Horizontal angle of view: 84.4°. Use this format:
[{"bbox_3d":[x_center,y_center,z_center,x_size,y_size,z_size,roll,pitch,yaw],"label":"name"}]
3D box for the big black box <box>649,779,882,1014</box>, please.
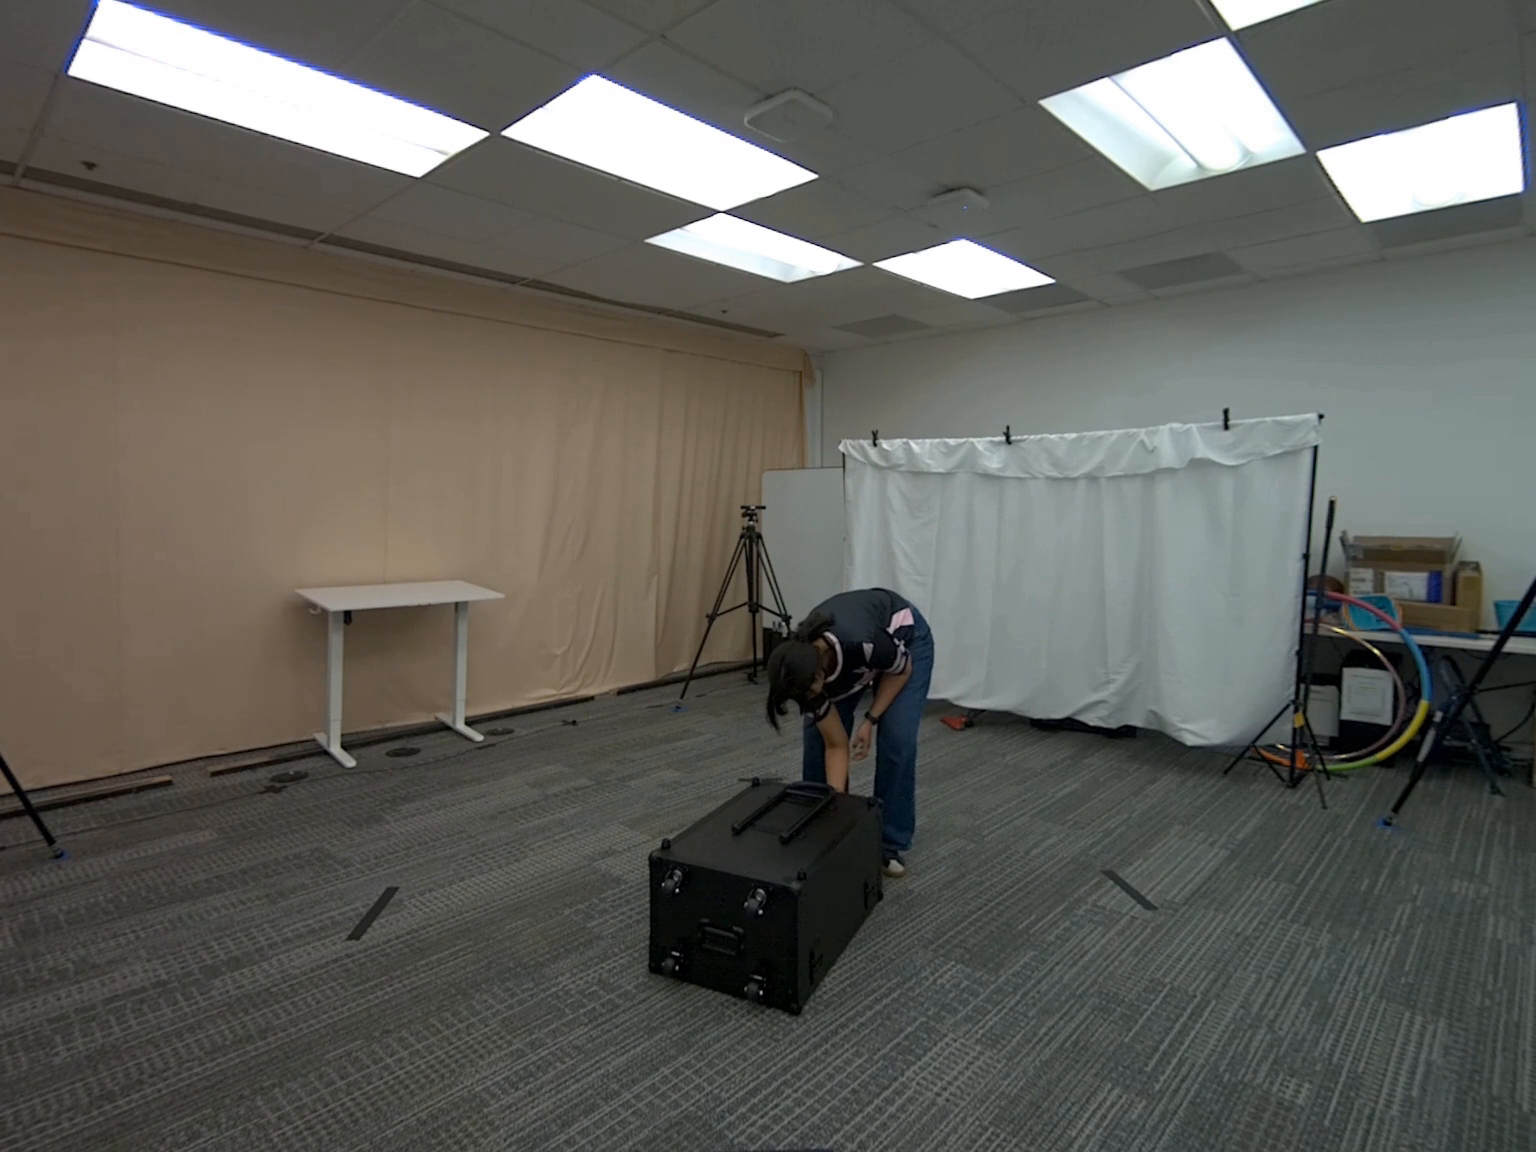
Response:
[{"bbox_3d":[0.012,0.970,2.700,0.535,0.395,0.841,2,6,25],"label":"big black box"}]
